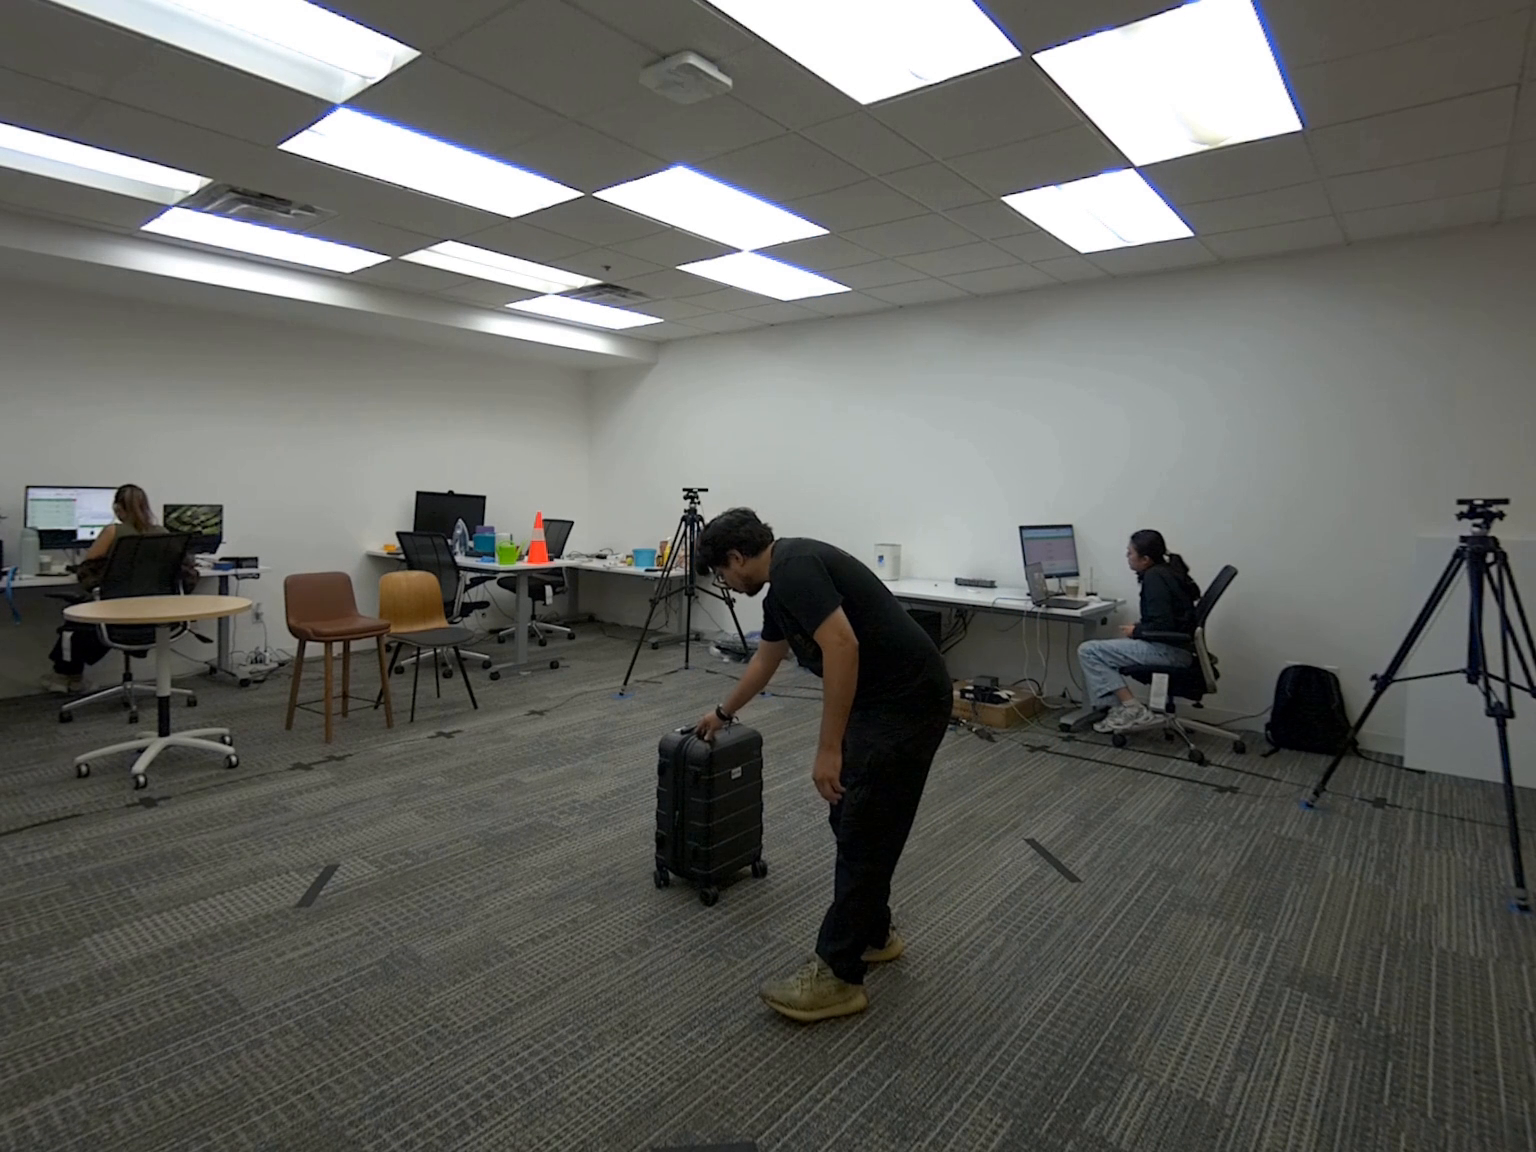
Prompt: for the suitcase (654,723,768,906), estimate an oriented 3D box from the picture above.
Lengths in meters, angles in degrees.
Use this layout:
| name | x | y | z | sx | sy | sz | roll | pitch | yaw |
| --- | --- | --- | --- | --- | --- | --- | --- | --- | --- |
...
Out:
| name | x | y | z | sx | sy | sz | roll | pitch | yaw |
| --- | --- | --- | --- | --- | --- | --- | --- | --- | --- |
| suitcase | -0.209 | 0.804 | 3.027 | 0.256 | 0.549 | 0.364 | 2 | 2 | 36 |
